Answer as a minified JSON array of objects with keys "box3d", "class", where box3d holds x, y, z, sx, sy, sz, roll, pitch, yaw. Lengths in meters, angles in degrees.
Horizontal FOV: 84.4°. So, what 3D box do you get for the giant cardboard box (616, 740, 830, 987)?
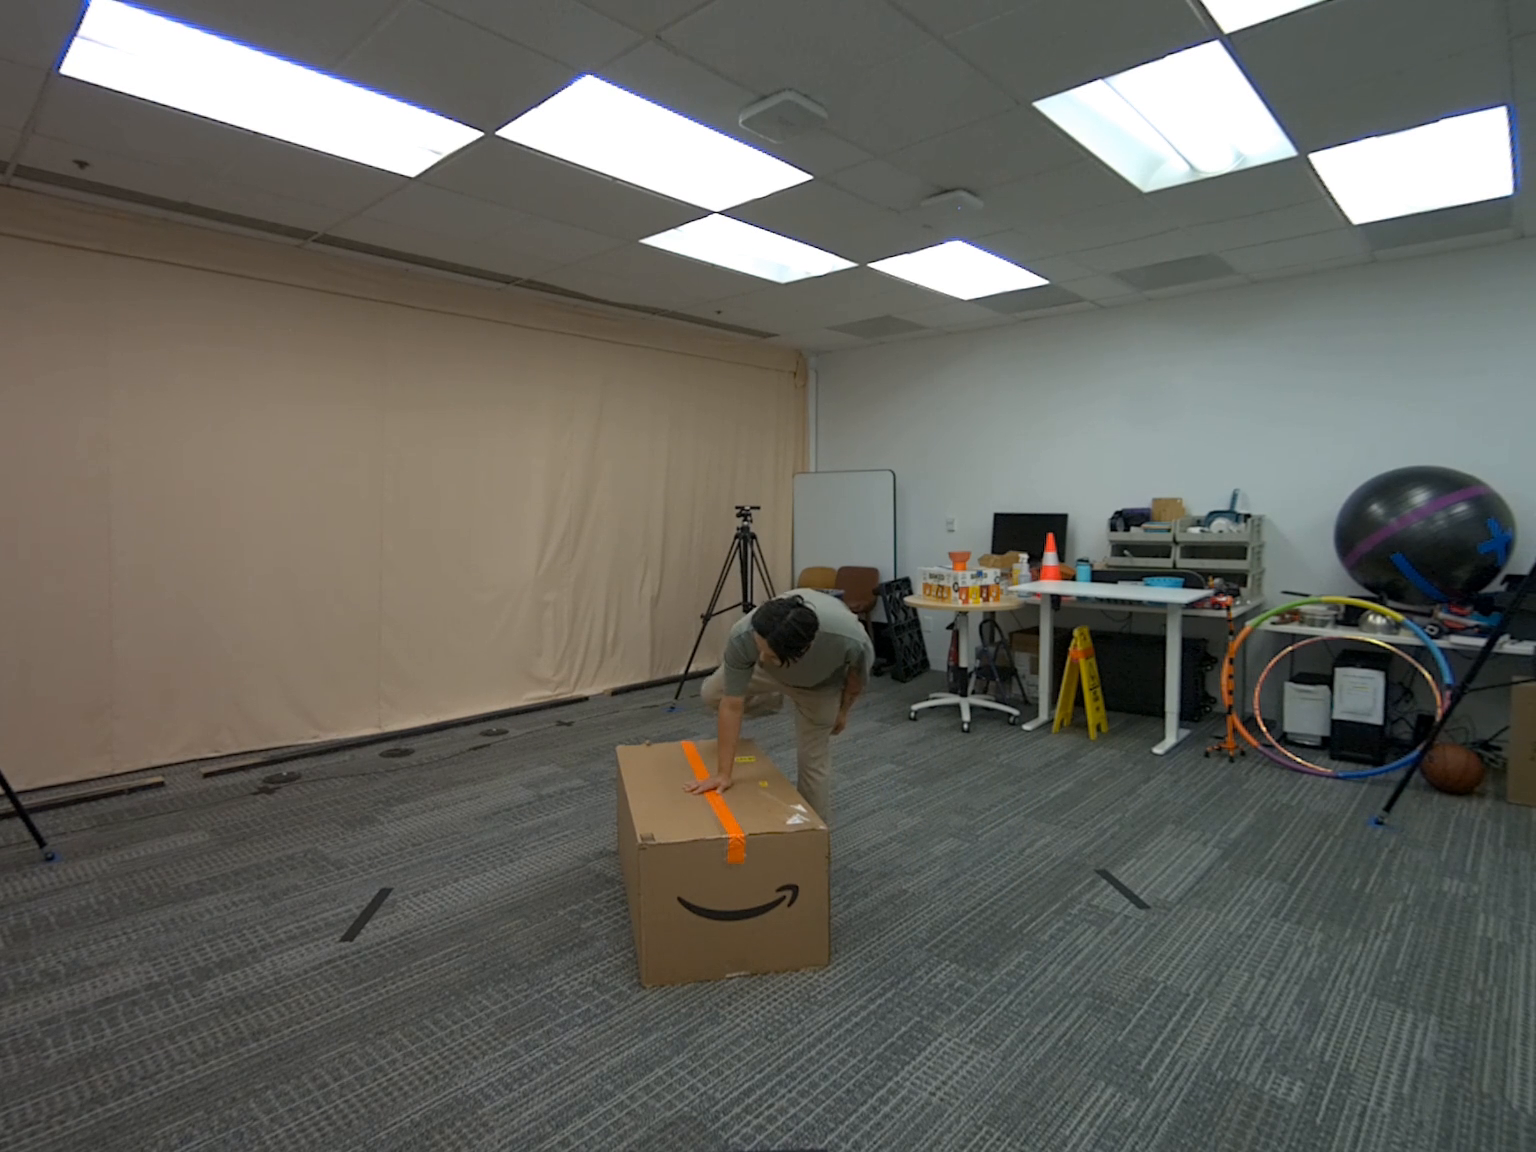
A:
[{"box3d":[-0.216,0.932,2.974,0.570,0.425,1.041,-1,4,-13],"class":"giant cardboard box"}]
